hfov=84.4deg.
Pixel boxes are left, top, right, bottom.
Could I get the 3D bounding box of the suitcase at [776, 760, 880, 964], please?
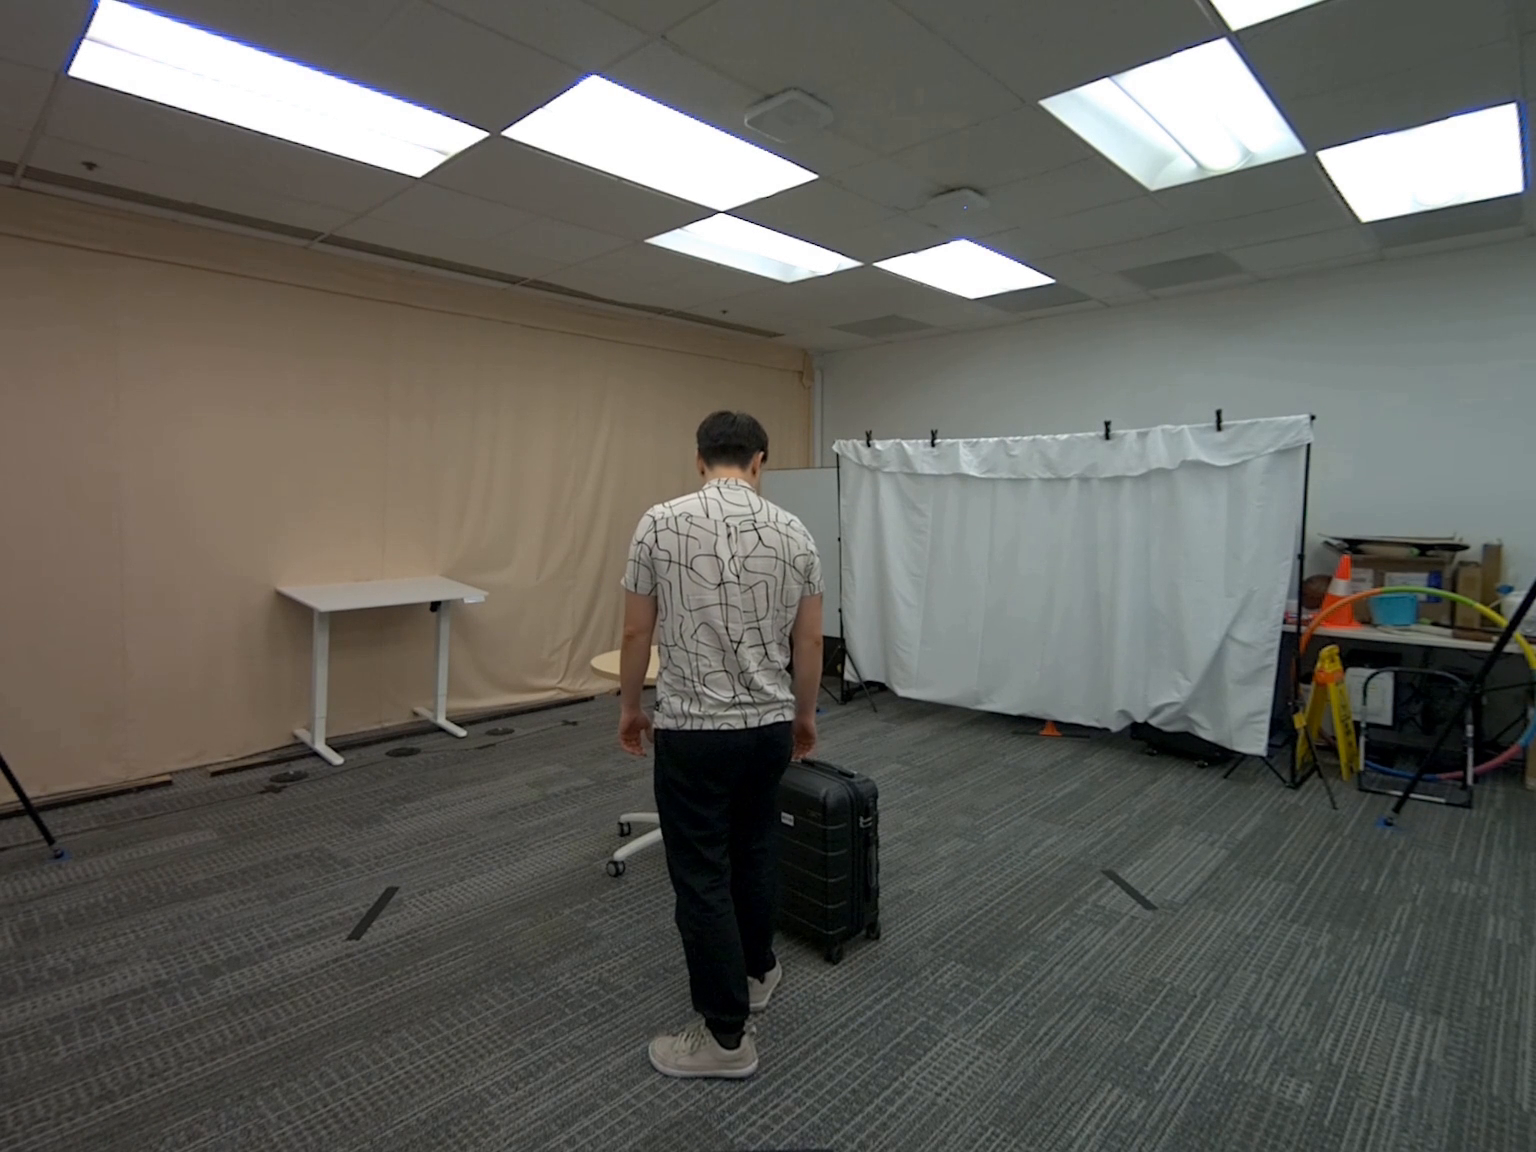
[{"bbox_3d":[0.168,0.888,2.717,0.241,0.547,0.388,-5,7,-42],"label":"suitcase"}]
